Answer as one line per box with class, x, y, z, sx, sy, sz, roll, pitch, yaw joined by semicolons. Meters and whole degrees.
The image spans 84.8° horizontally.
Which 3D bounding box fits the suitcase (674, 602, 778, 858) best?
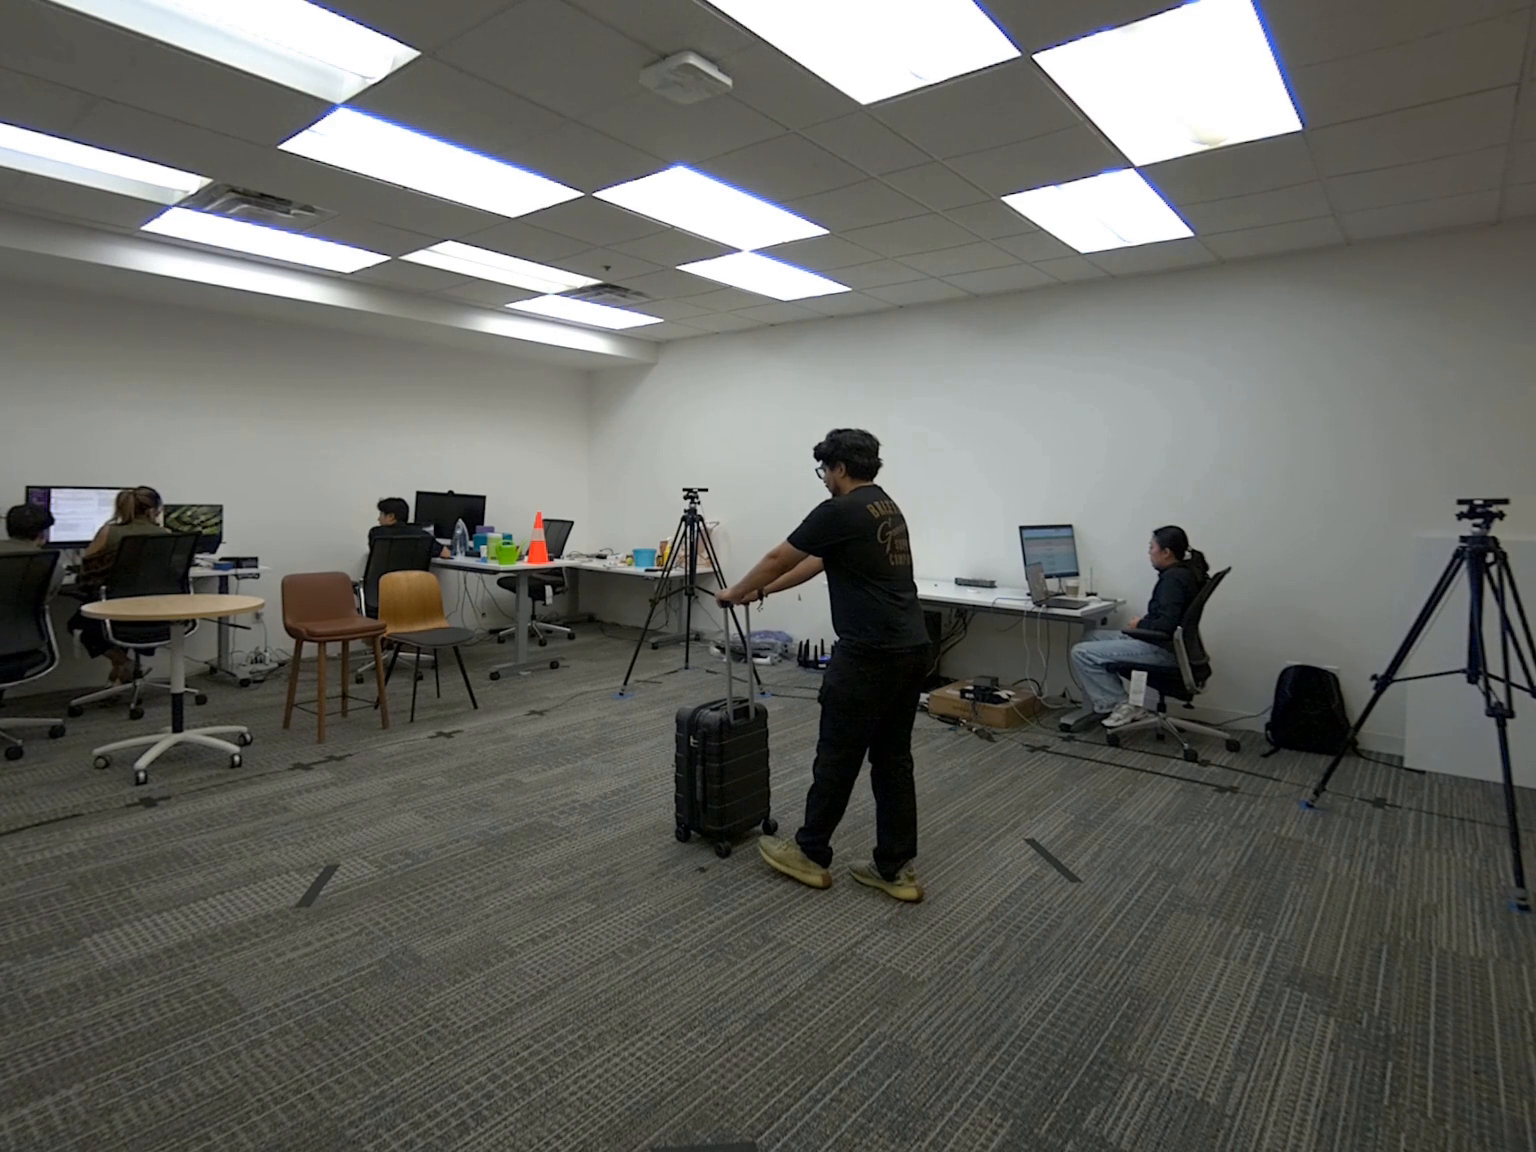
suitcase;-0.203;0.565;3.415;0.265;0.980;0.372;-4;-1;41
